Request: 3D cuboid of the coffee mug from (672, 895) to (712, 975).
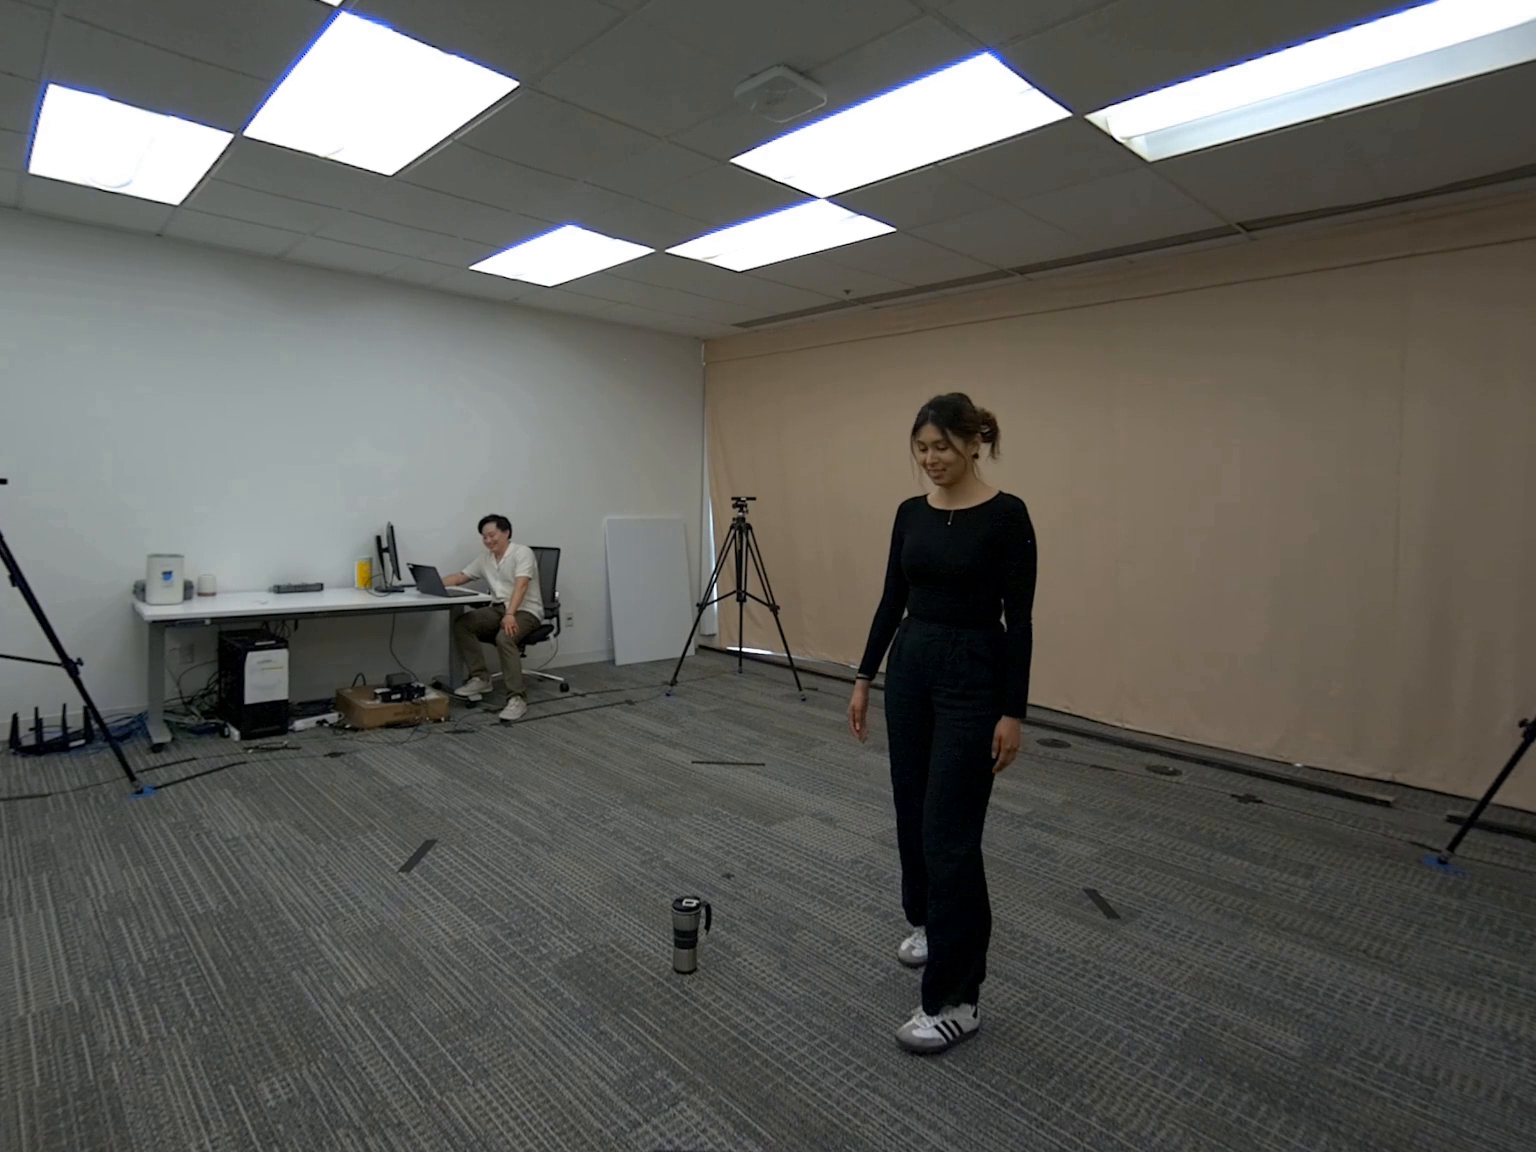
[{"bbox_3d":[-0.221,1.061,2.479,0.121,0.202,0.089,-2,2,-10],"label":"coffee mug"}]
